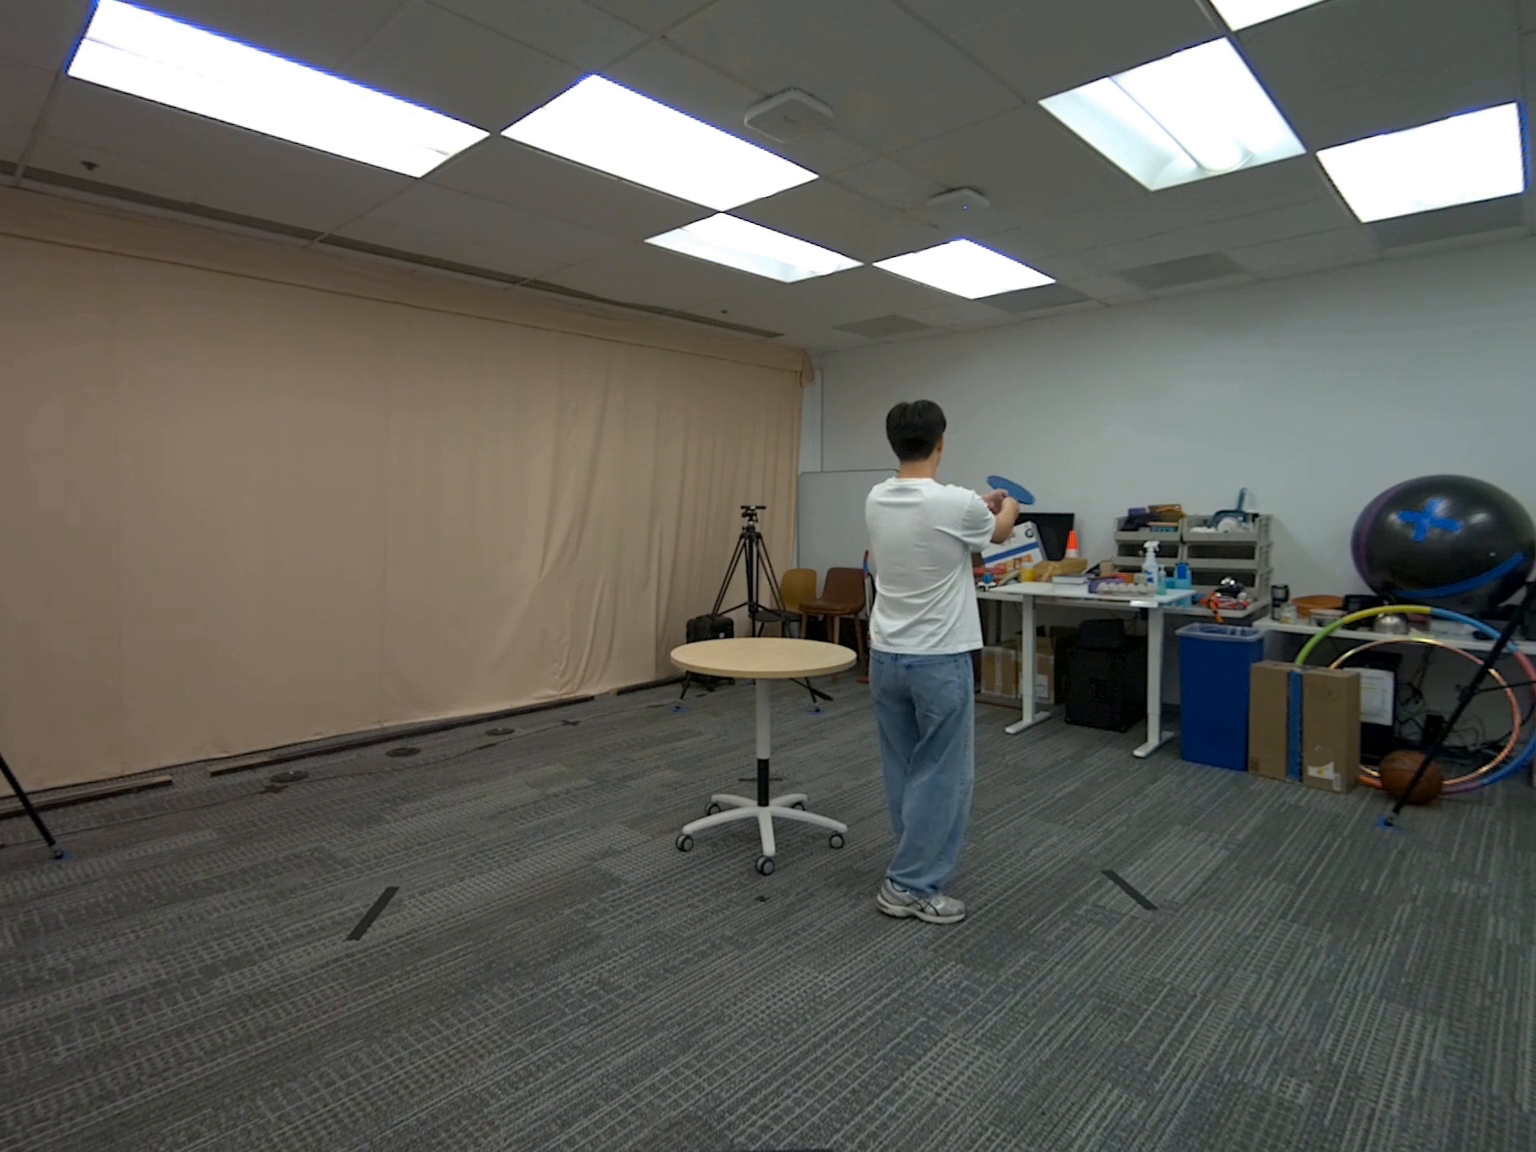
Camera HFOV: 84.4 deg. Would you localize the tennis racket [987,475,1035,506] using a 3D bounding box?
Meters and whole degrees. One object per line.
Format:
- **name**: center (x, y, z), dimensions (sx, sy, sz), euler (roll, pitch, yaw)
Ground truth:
- **tennis racket**: center (1.024, -0.334, 3.423), dimensions (0.215, 0.031, 0.431), euler (25, 25, 5)
